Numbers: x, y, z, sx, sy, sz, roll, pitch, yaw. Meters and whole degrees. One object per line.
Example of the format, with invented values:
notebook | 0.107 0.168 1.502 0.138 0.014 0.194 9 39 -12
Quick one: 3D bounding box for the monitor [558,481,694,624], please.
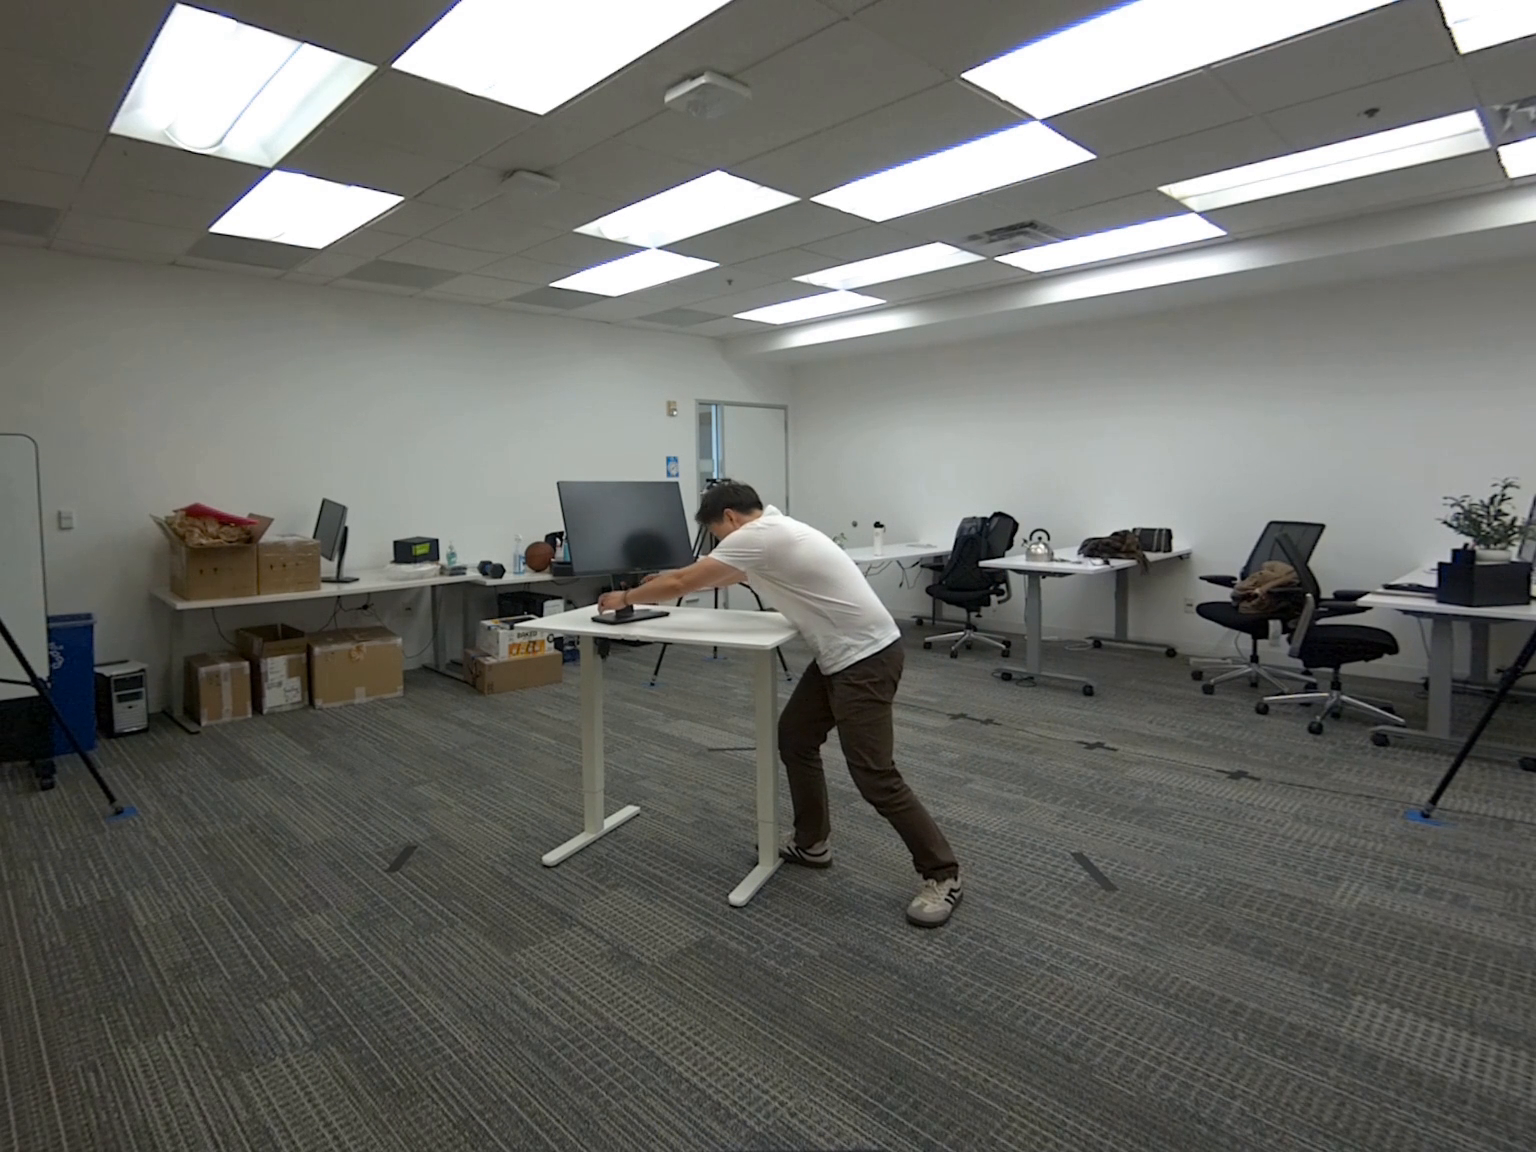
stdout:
monitor | -0.532 -0.099 3.208 0.524 0.523 0.192 -3 -1 -43
